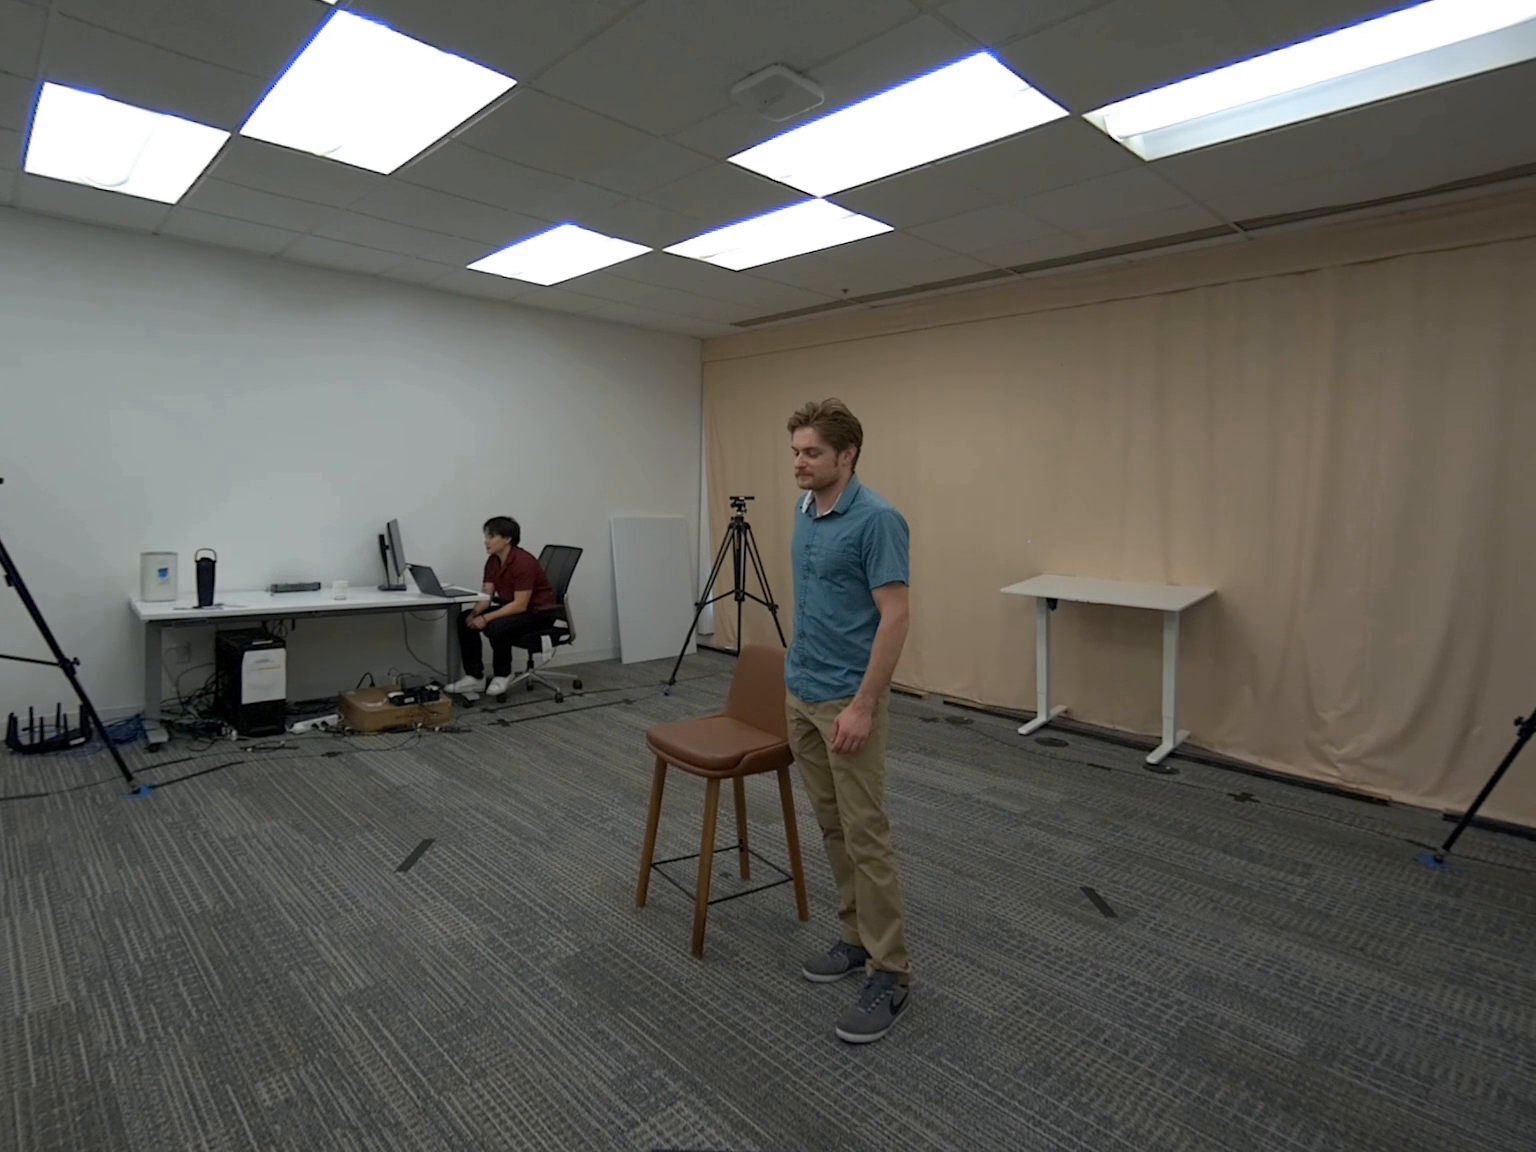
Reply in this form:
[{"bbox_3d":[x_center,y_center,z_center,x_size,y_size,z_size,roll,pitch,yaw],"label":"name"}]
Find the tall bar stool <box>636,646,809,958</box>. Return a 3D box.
[{"bbox_3d":[-0.143,0.697,2.805,0.457,0.888,0.467,2,3,-35],"label":"tall bar stool"}]
